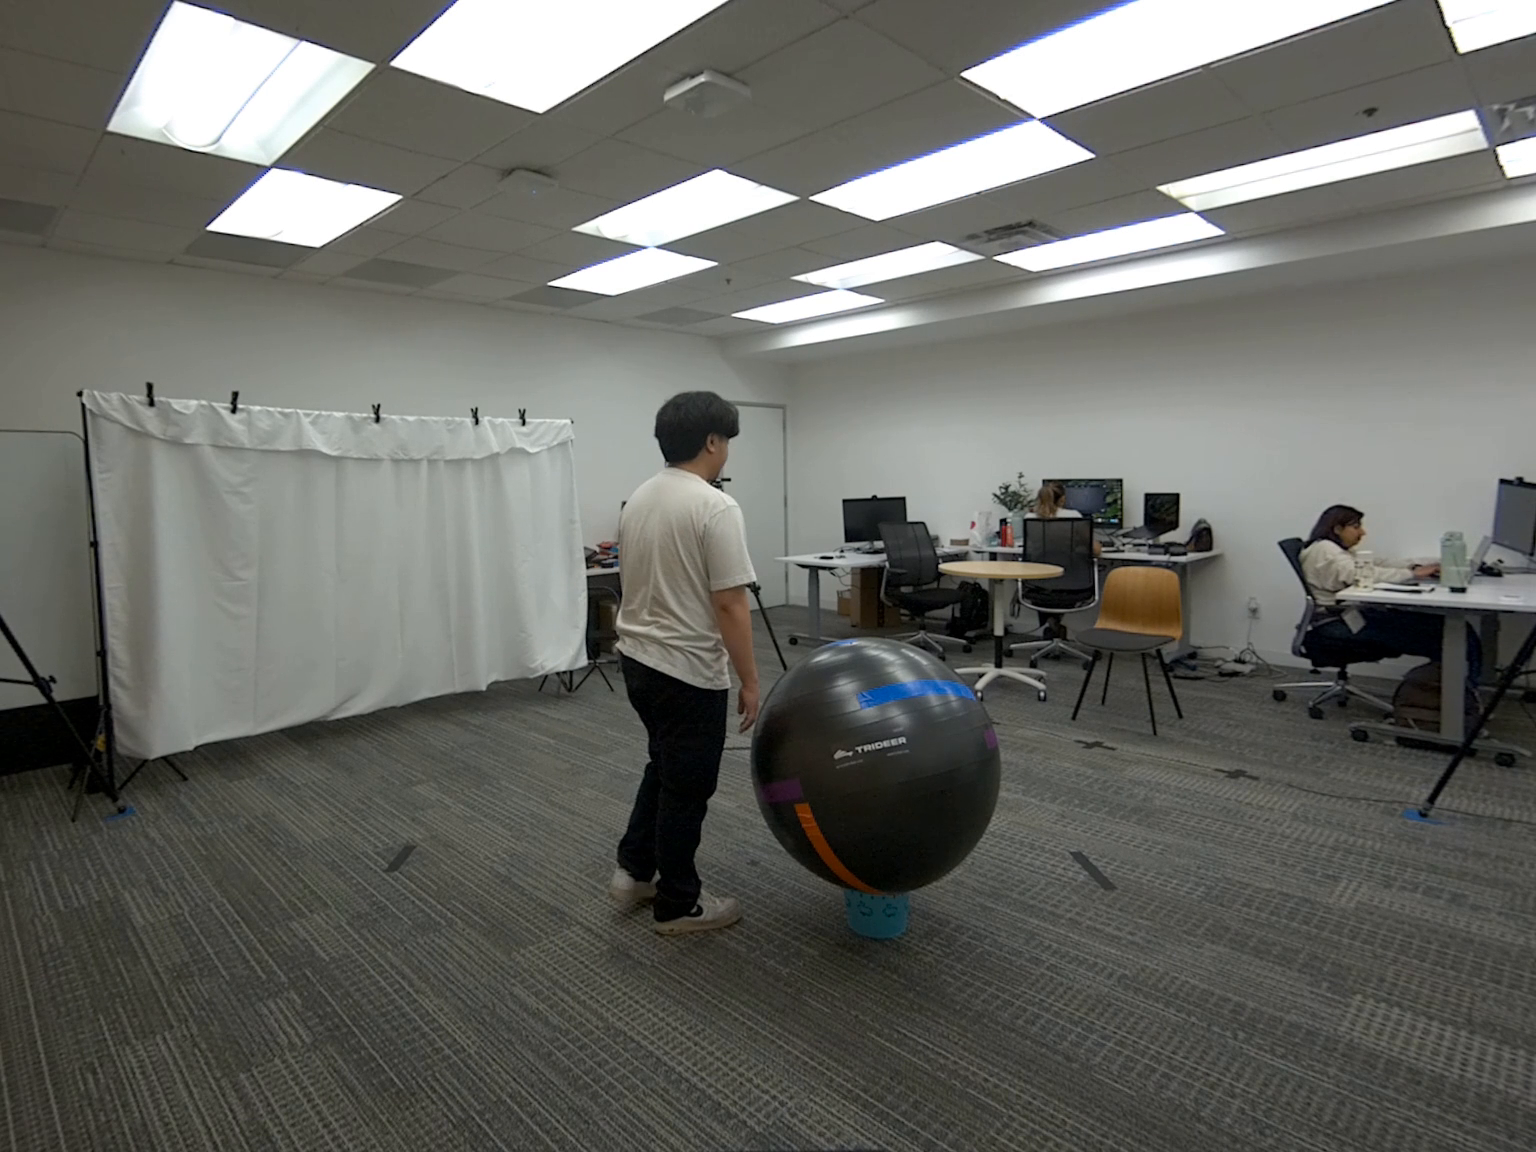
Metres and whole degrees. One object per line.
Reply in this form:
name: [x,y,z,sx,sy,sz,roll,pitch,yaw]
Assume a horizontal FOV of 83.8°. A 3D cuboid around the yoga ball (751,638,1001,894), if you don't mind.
yoga ball: [0.333,0.579,2.641,0.757,0.755,0.762,-1,5,-2]
